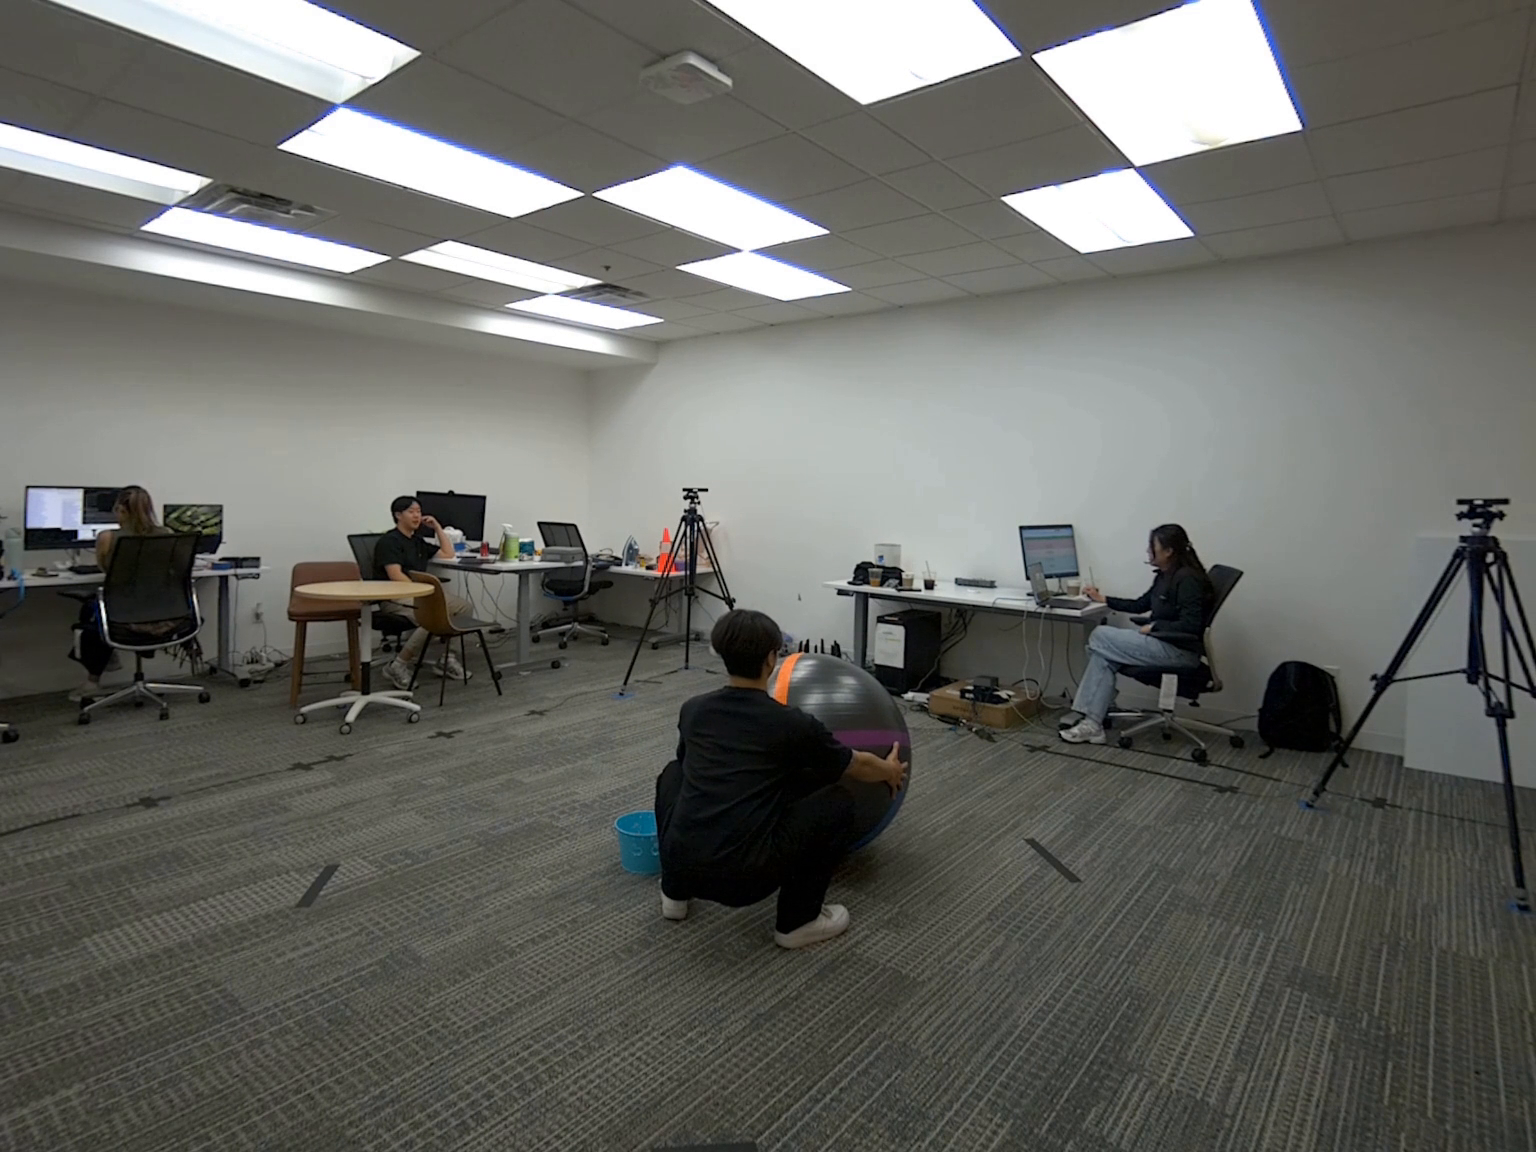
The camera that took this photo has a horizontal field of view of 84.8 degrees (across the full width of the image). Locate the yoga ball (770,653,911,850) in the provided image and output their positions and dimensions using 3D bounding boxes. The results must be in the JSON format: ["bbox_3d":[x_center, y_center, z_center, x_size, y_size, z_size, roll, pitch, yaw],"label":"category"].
[{"bbox_3d":[0.177,0.693,3.297,0.757,0.755,0.762,1,4,-2],"label":"yoga ball"}]
